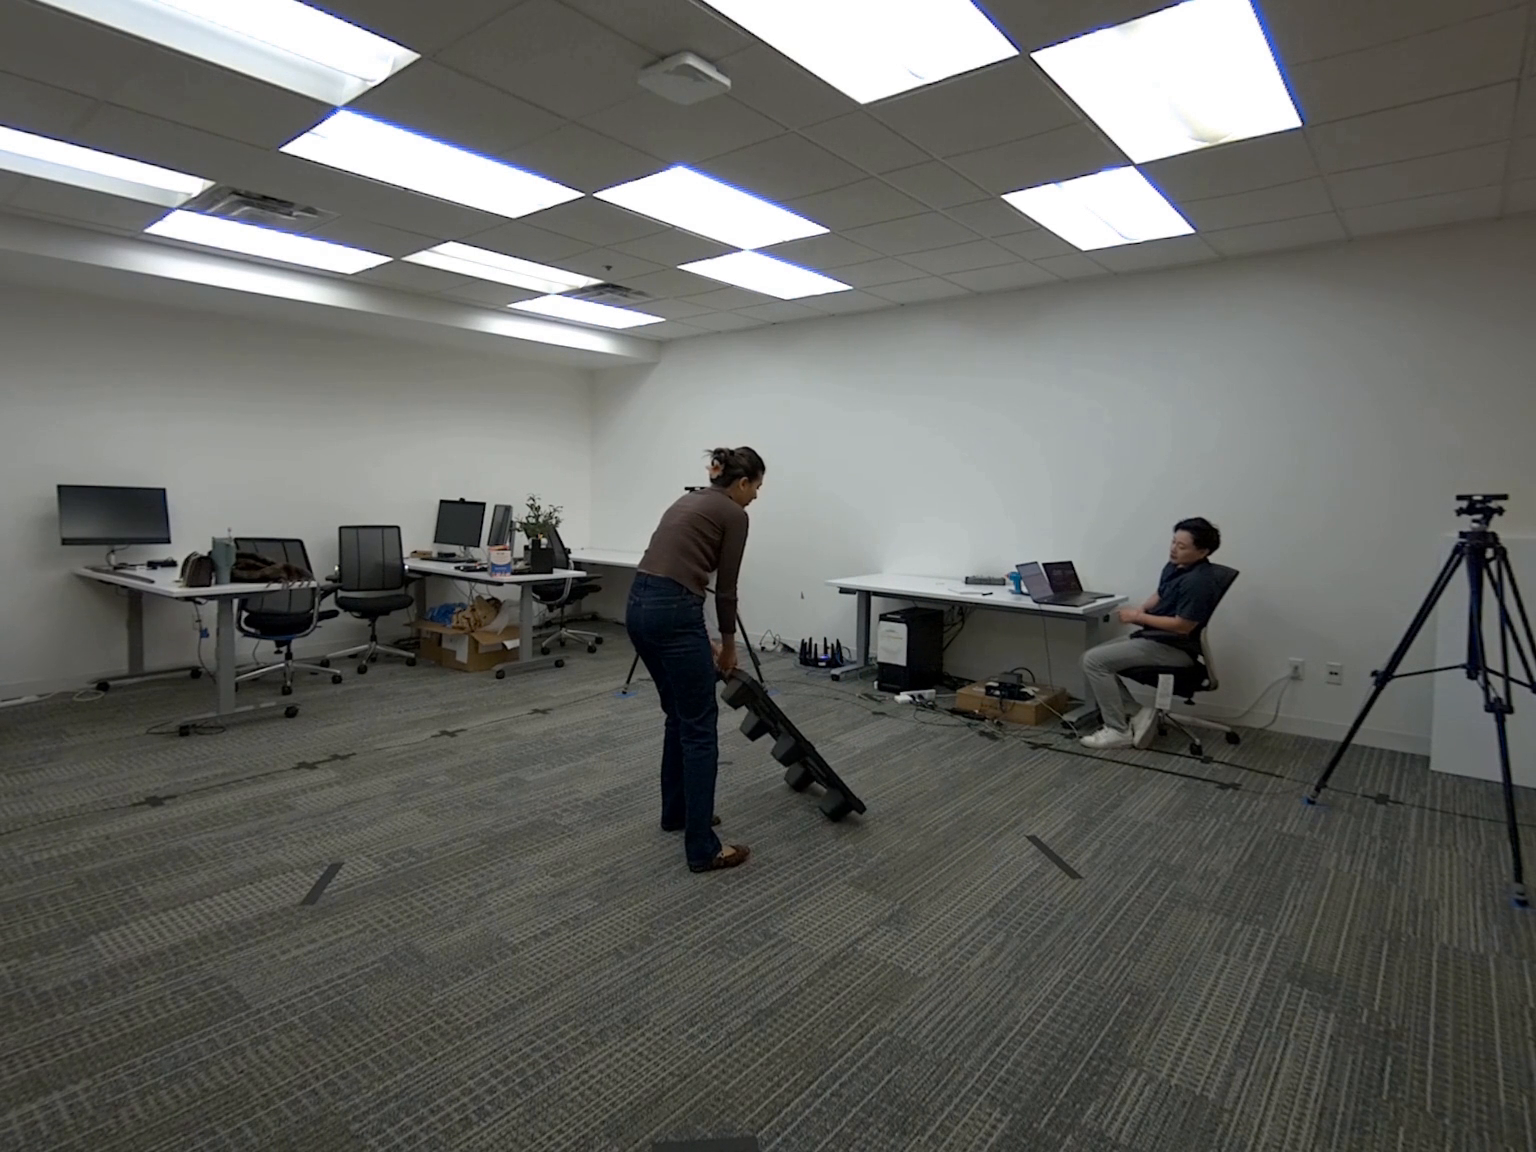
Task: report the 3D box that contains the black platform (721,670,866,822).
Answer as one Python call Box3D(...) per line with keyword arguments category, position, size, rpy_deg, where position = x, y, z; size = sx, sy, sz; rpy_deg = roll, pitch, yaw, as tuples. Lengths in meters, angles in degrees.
Box3D(category="black platform", position=(0.006, 0.690, 3.707), size=(0.143, 0.790, 0.618), rpy_deg=(-42, 15, -13))
